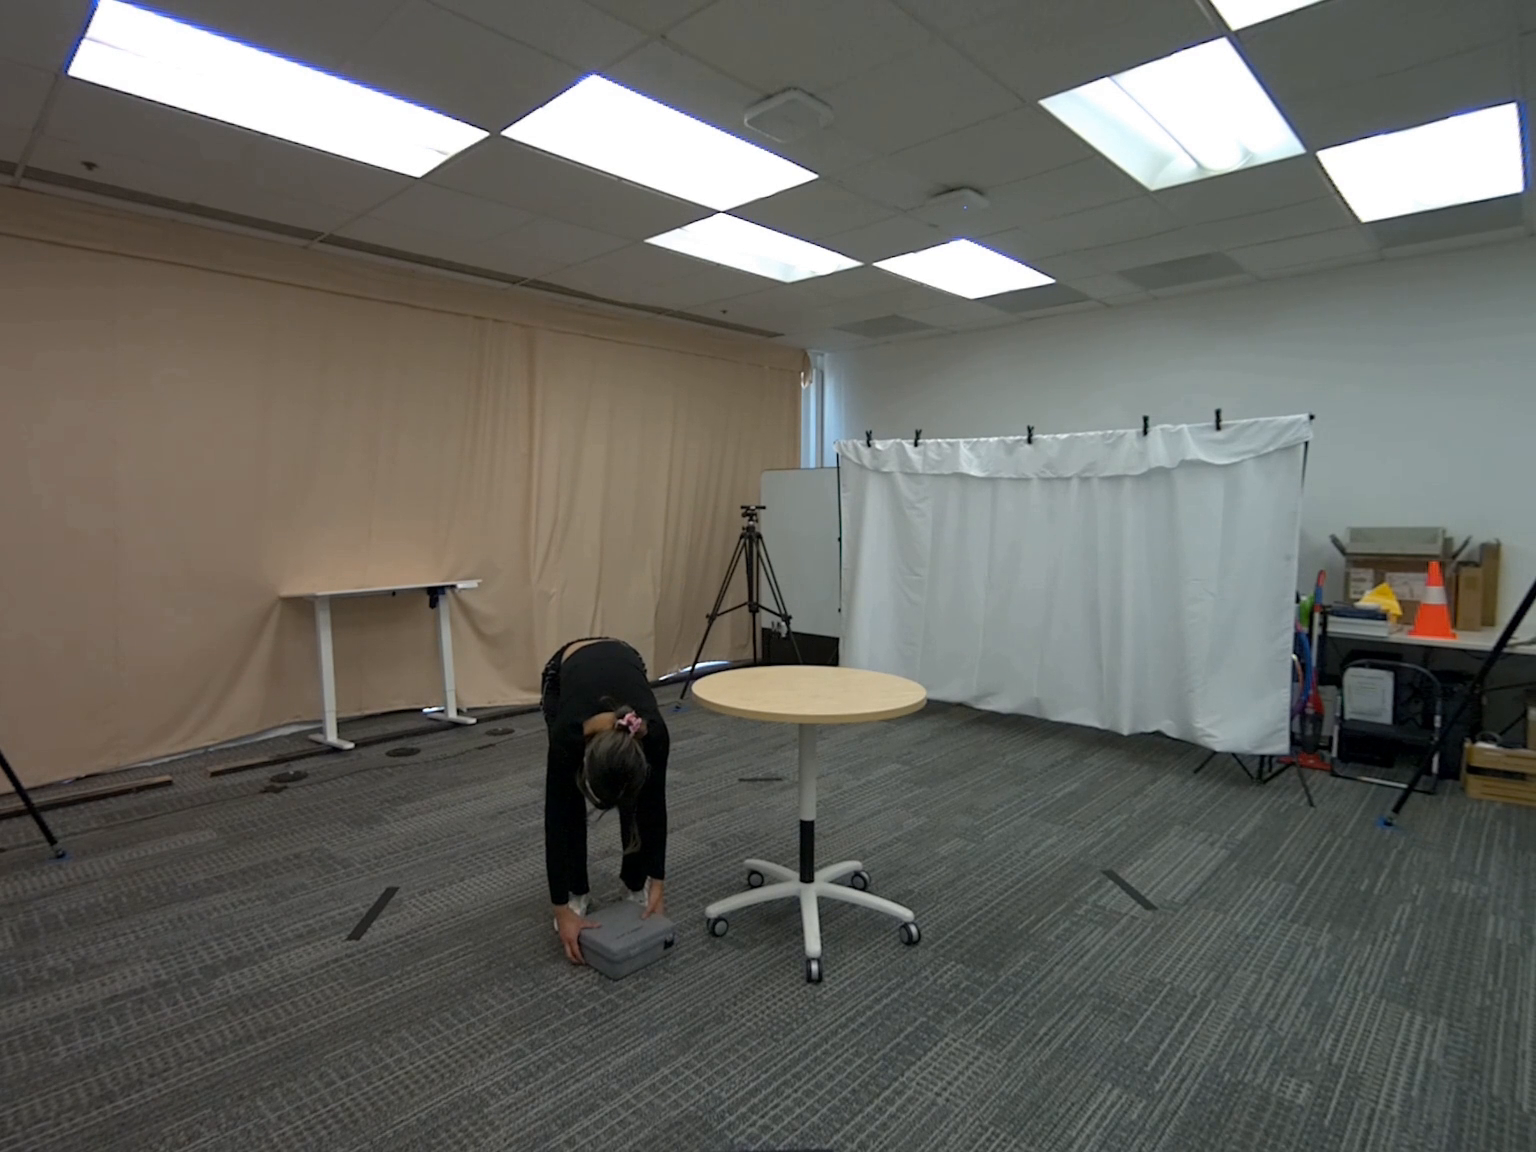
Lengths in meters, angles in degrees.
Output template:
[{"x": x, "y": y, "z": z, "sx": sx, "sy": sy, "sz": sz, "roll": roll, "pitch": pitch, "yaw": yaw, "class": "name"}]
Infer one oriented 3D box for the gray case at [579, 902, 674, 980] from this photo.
[{"x": -0.457, "y": 1.117, "z": 2.620, "sx": 0.269, "sy": 0.104, "sz": 0.249, "roll": 3, "pitch": 7, "yaw": 44, "class": "gray case"}]
